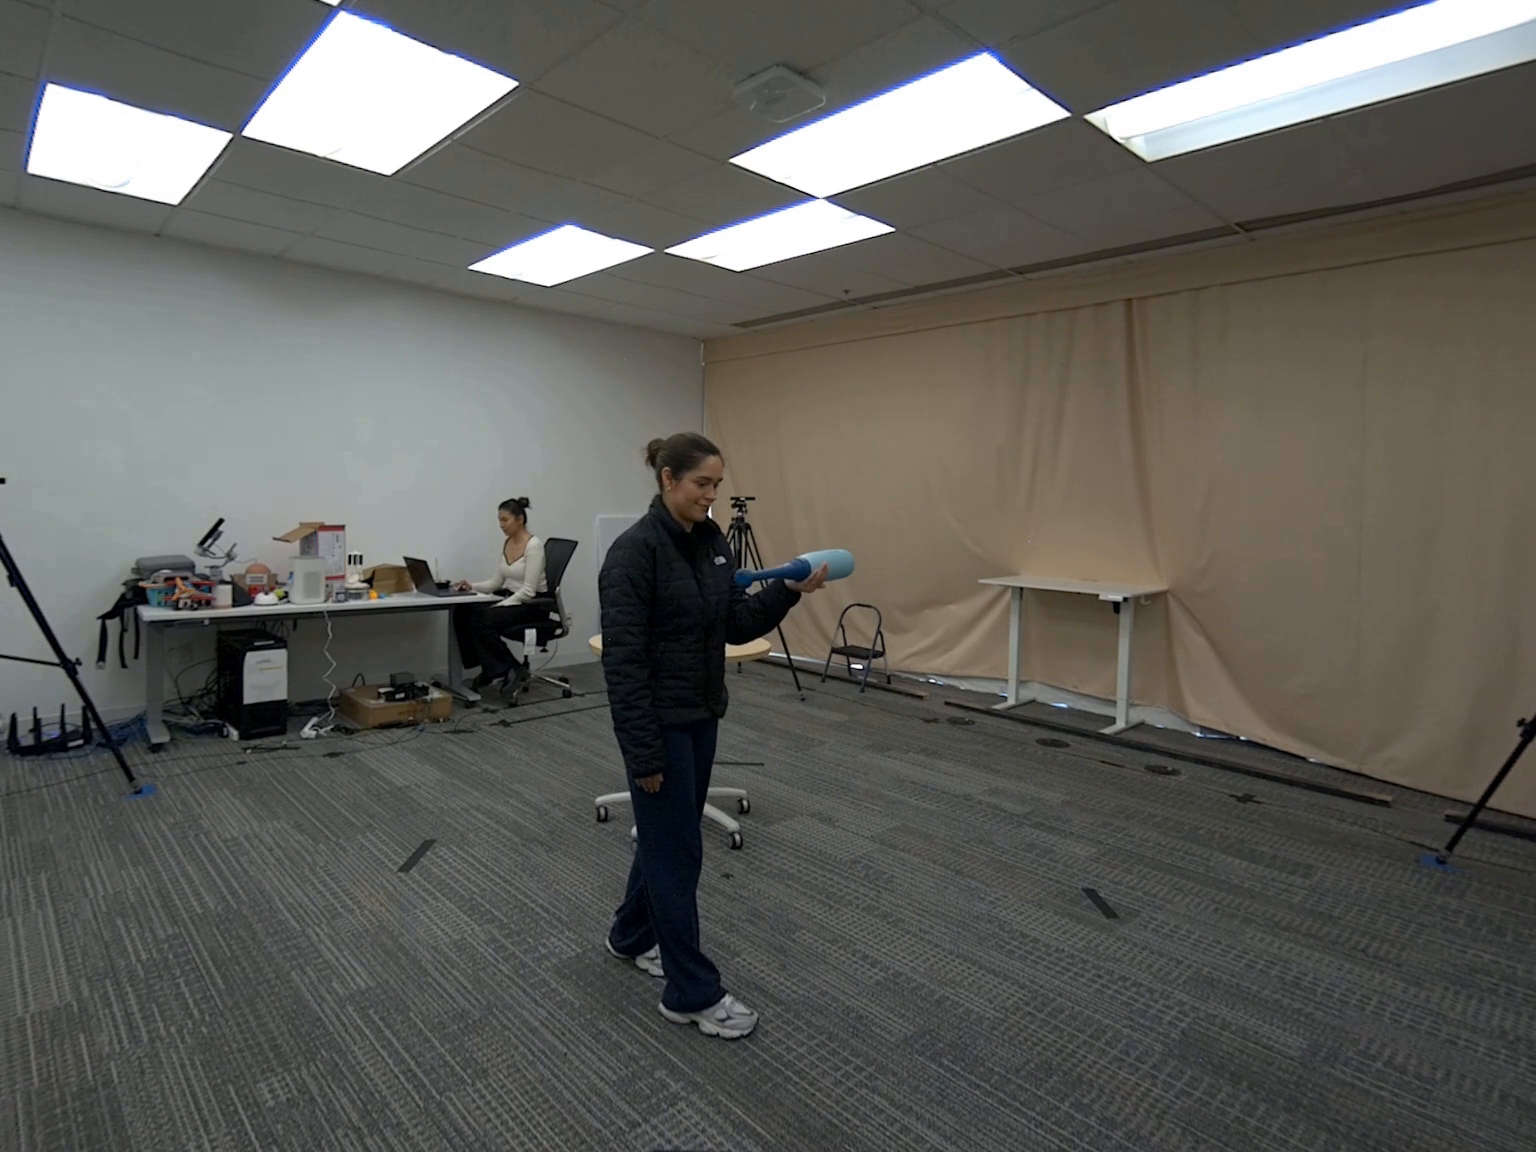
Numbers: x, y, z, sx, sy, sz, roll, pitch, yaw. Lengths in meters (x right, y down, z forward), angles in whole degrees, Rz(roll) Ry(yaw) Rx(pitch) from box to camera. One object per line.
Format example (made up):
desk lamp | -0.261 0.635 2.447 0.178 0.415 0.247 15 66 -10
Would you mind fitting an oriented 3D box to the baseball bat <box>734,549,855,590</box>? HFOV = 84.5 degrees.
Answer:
baseball bat | 0.075 -0.014 2.263 0.091 0.089 0.532 4 7 34
